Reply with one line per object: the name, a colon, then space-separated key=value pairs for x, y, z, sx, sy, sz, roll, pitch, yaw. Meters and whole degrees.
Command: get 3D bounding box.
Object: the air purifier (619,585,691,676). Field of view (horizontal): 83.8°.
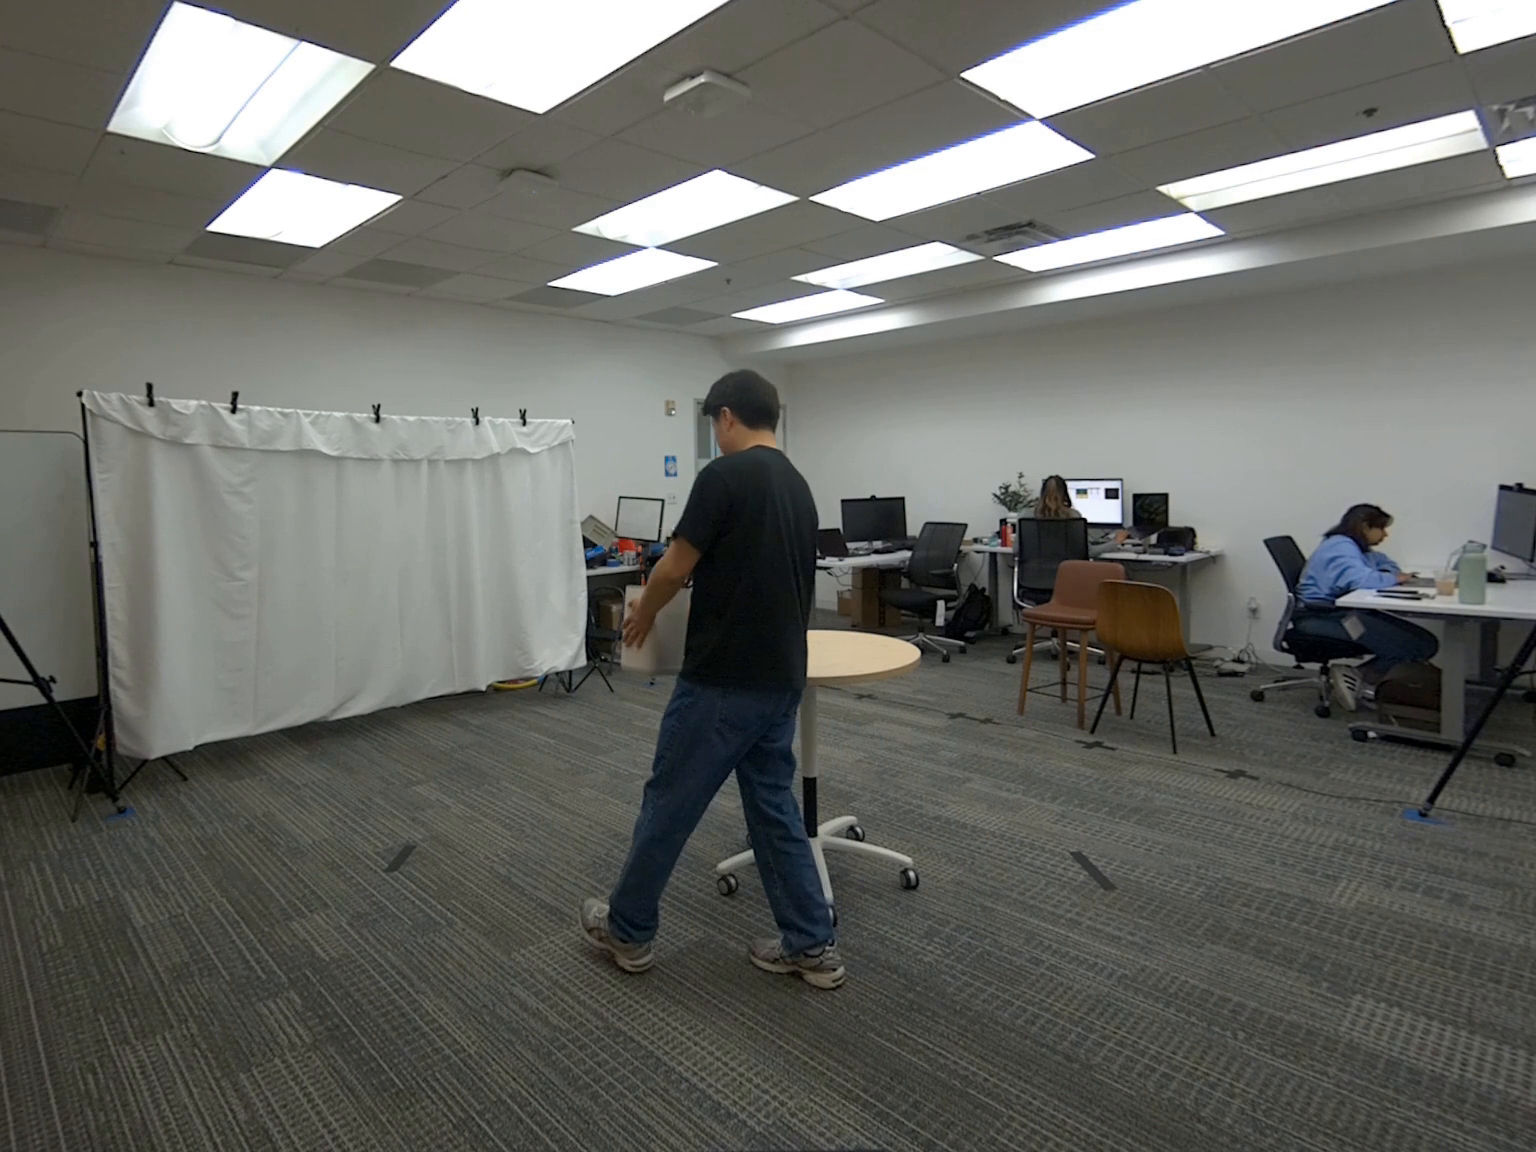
air purifier: x=-0.341 y=0.170 z=2.623 sx=0.176 sy=0.266 sz=0.166 roll=0 pitch=-4 yaw=44
